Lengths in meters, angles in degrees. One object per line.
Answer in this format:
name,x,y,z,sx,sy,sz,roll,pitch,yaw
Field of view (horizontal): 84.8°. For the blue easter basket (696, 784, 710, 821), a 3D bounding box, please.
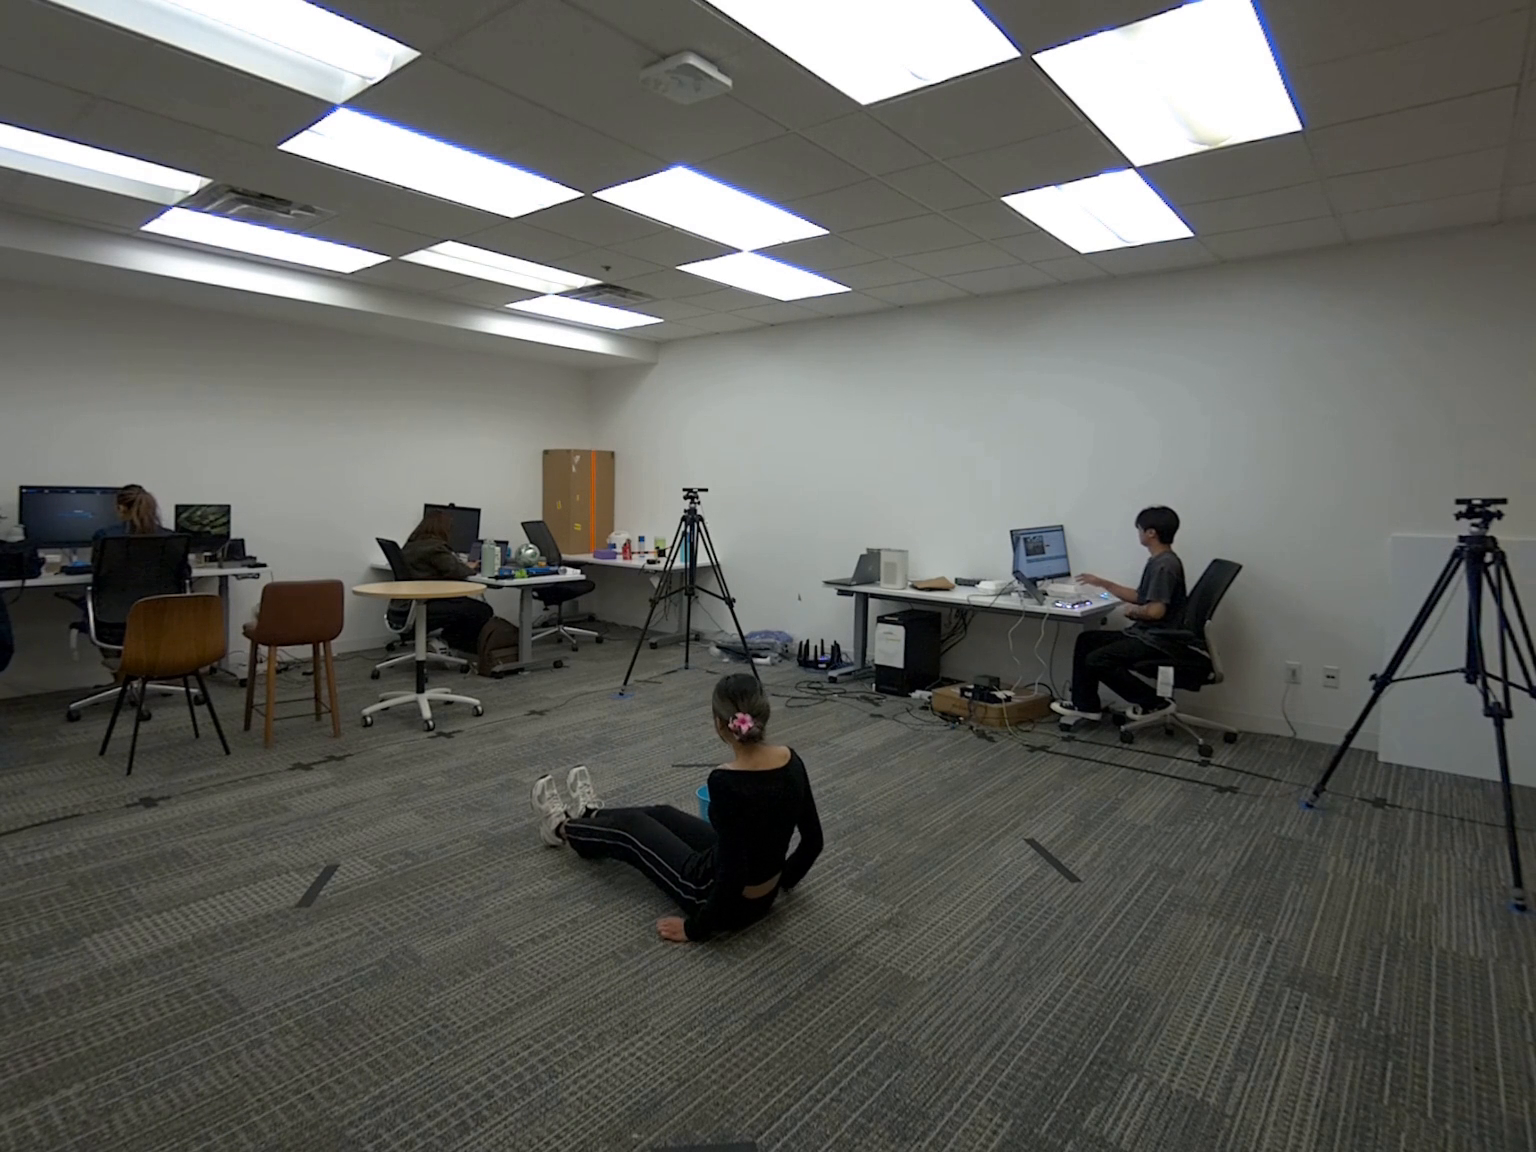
blue easter basket,-0.181,0.945,3.475,0.243,0.155,0.245,1,4,-2
